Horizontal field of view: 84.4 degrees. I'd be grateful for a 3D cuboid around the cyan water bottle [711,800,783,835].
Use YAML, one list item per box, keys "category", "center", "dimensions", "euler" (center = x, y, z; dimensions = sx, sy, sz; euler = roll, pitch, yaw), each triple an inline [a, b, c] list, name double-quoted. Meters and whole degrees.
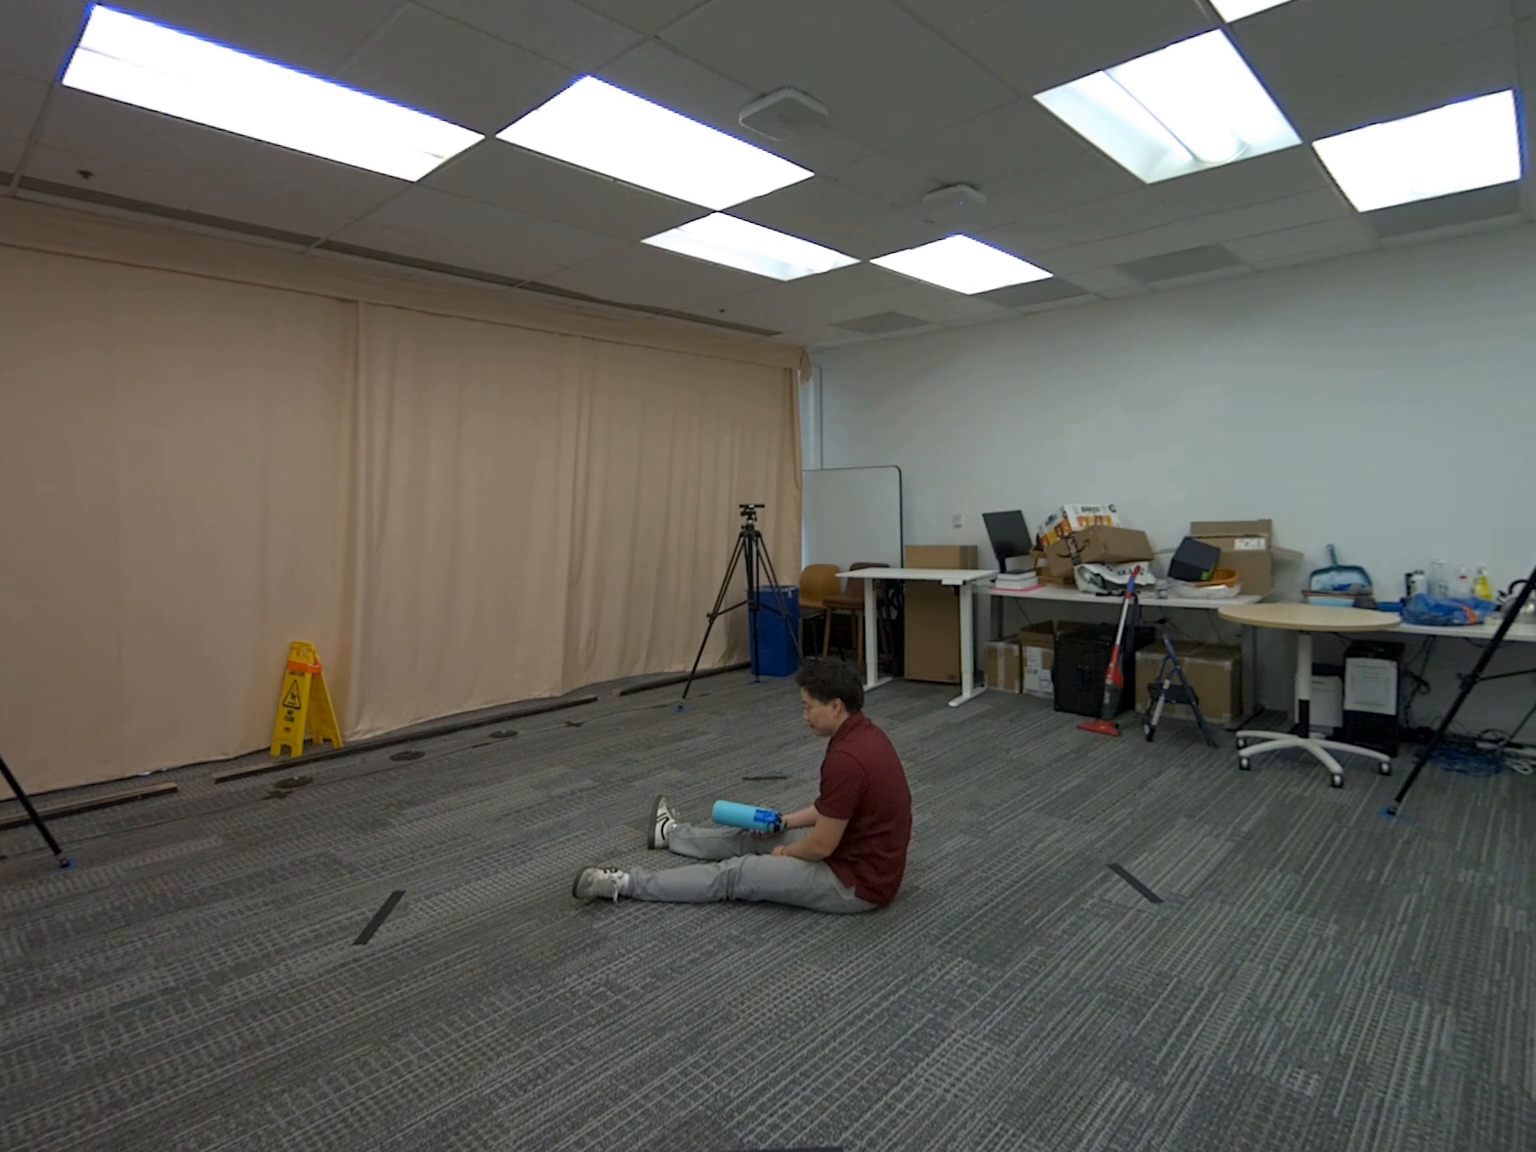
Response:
- category: "cyan water bottle"
  center: [-0.065, 0.925, 3.205]
  dimensions: [0.291, 0.092, 0.090]
  euler: [2, 5, 26]
